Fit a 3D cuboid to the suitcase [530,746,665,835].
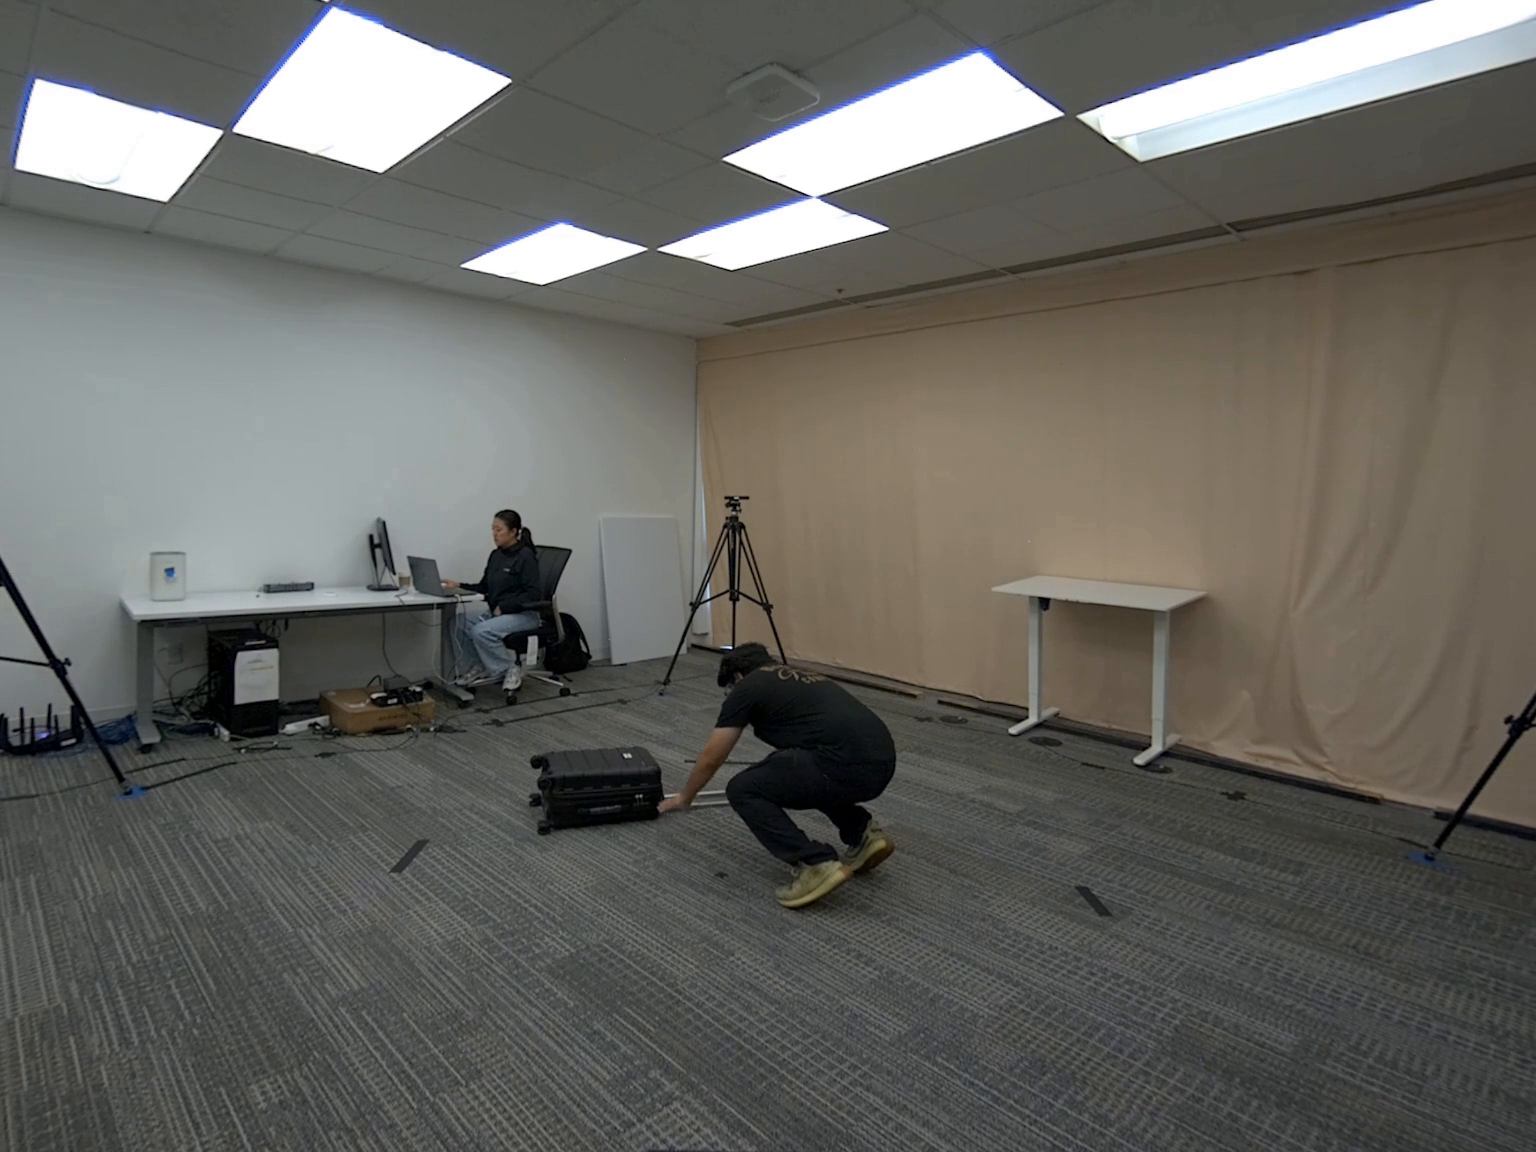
[{"bbox_3d":[-0.560,0.908,3.751,0.964,0.256,0.391,-2,5,-20],"label":"suitcase"}]
